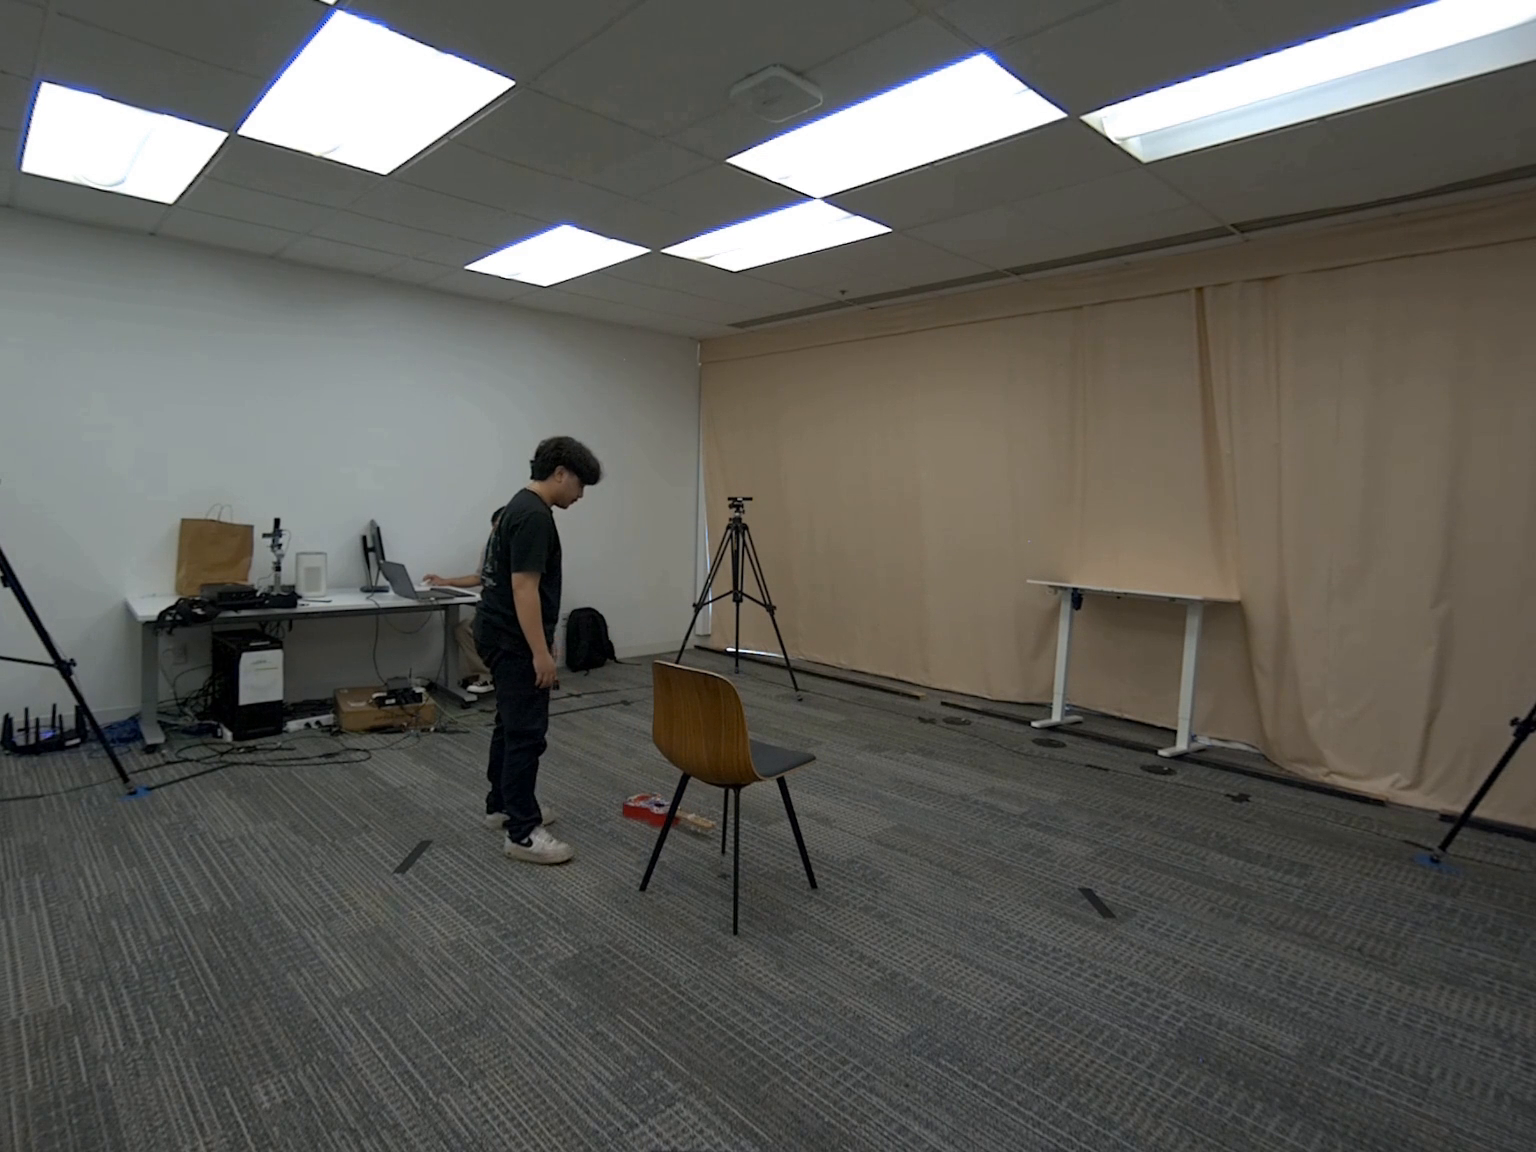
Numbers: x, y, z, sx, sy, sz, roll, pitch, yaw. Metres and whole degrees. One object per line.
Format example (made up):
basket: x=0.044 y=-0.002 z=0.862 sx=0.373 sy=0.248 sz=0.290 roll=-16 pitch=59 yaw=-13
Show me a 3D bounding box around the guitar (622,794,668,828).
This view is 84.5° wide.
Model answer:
guitar: x=-0.446 y=1.028 z=3.585 sx=0.188 sy=0.070 sz=0.510 roll=-2 pitch=5 yaw=-40
